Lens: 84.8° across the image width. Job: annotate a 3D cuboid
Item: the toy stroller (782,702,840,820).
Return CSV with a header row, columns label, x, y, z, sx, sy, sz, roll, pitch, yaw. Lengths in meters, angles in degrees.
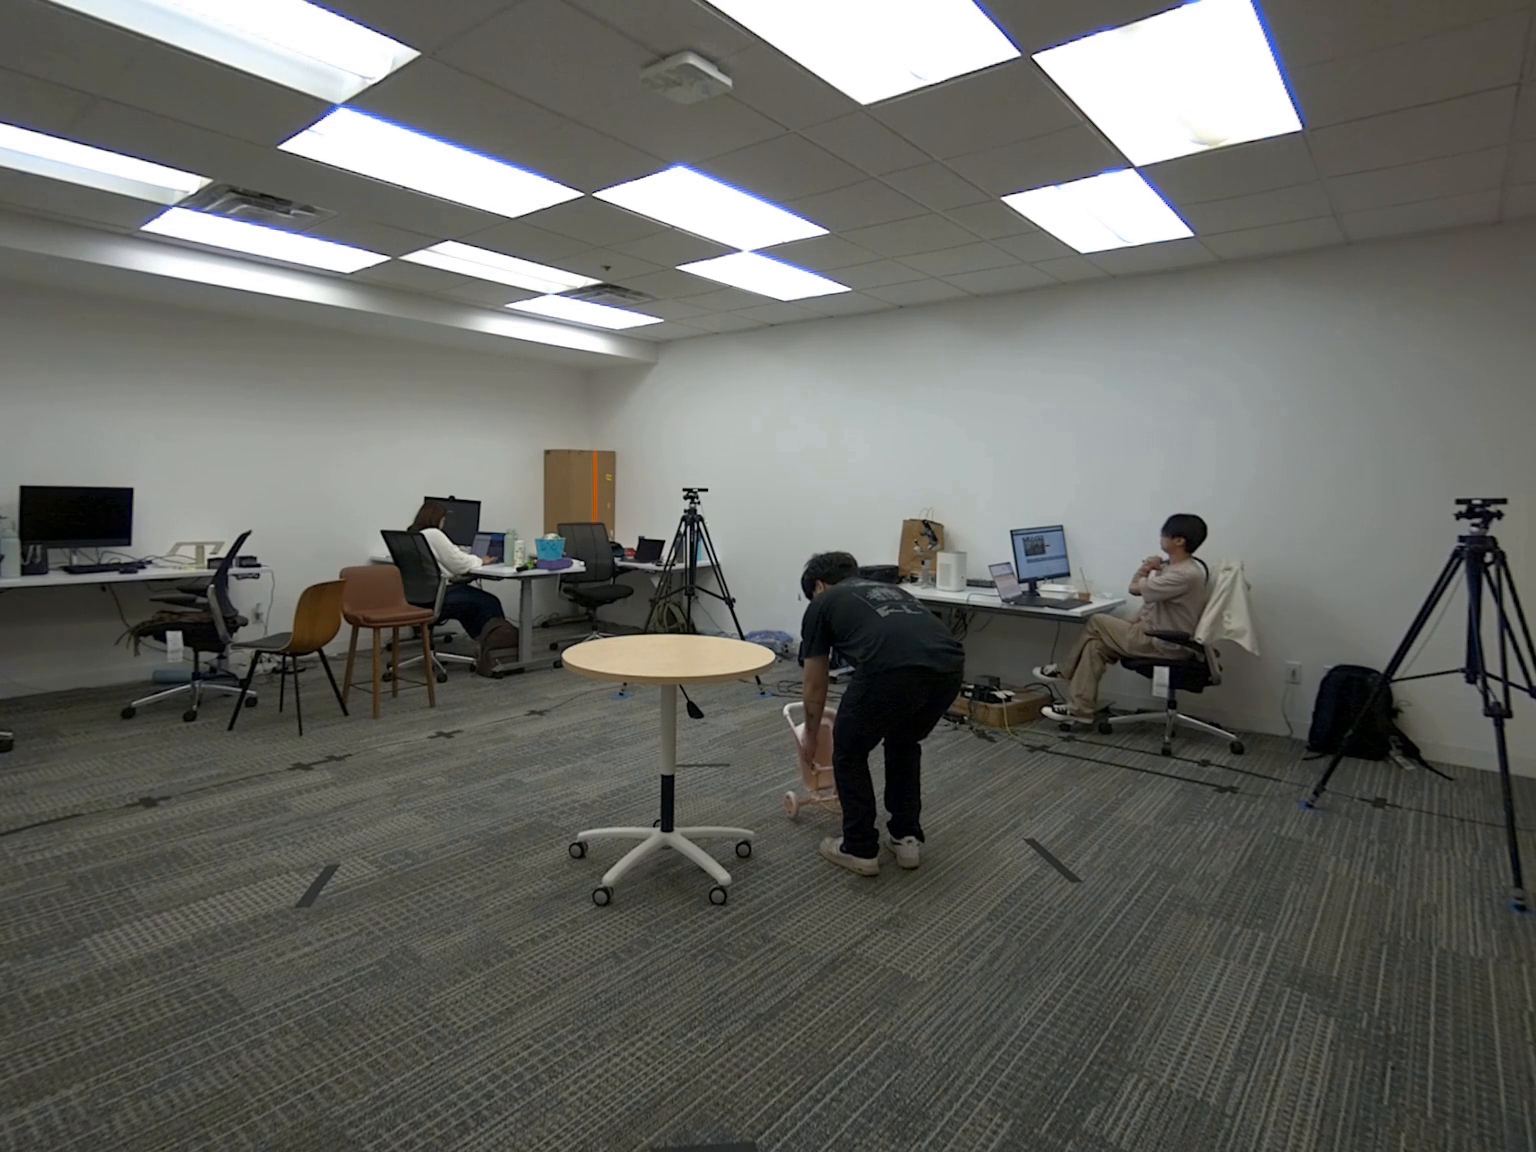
label,x,y,z,sx,sy,sz,roll,pitch,yaw
toy stroller,0.228,0.787,3.586,0.276,0.541,0.344,-1,-12,-21
